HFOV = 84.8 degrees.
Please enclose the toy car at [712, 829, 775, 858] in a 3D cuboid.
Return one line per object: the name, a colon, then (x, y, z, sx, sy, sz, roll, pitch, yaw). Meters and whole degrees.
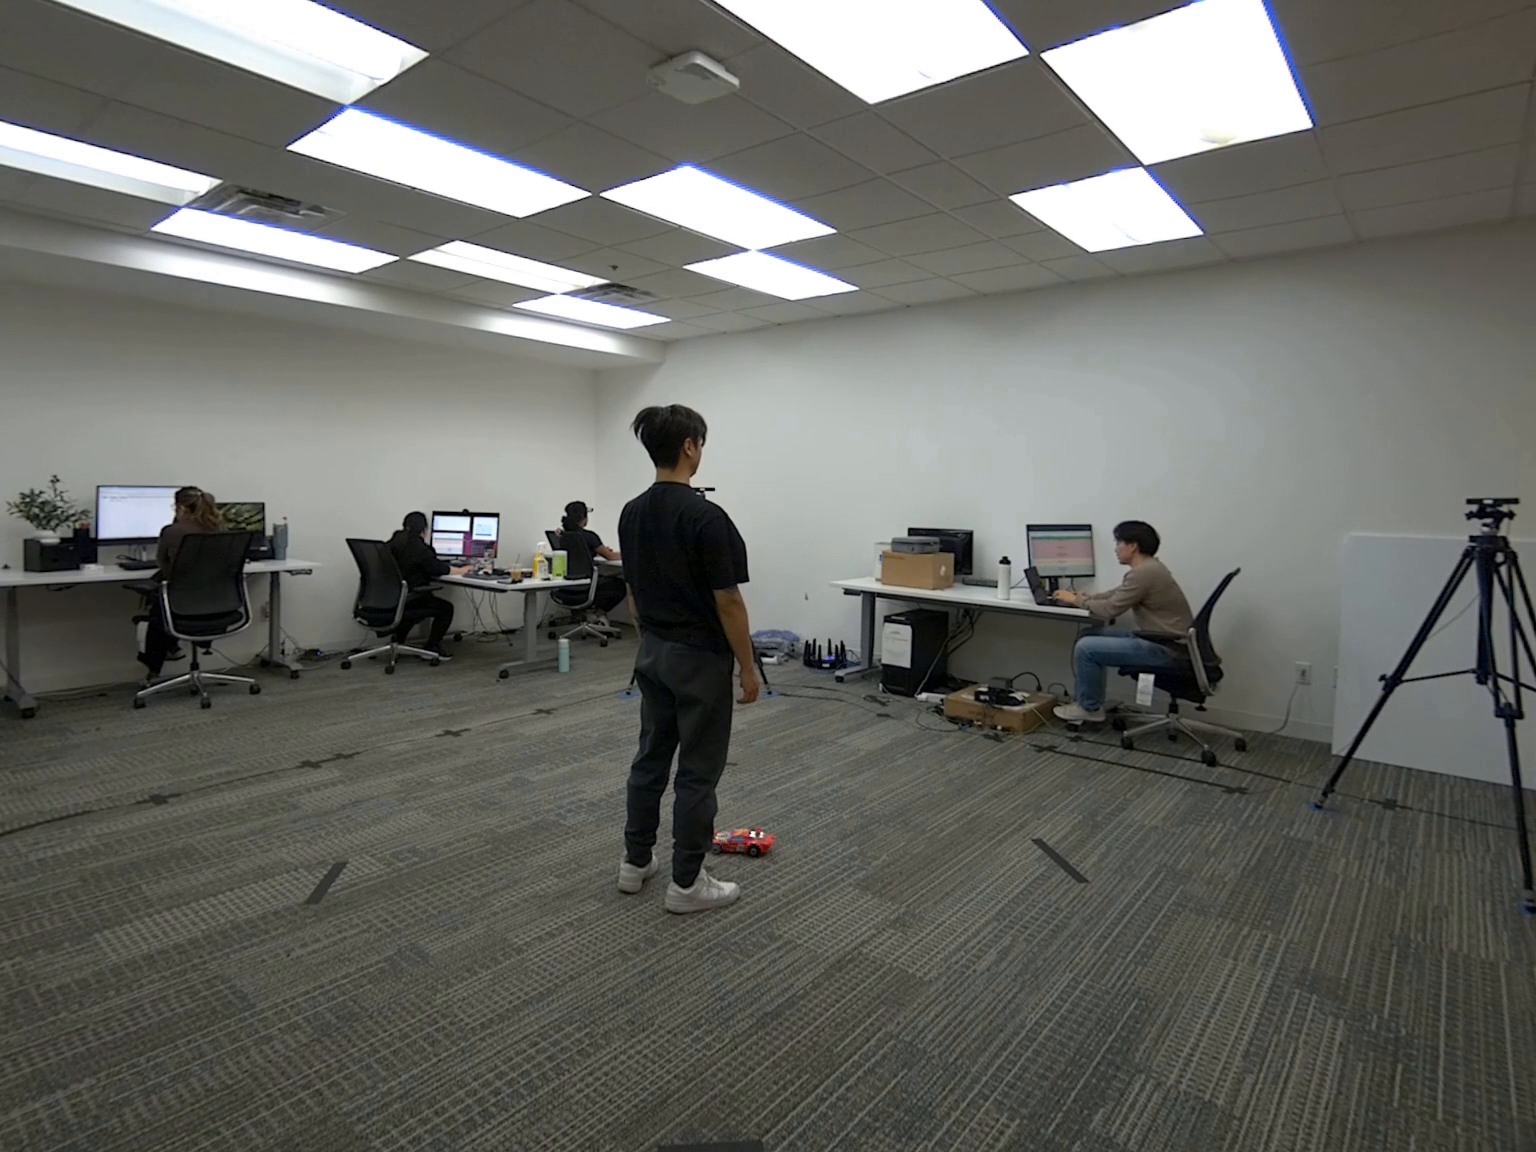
toy car: (-0.109, 1.019, 3.269, 0.257, 0.083, 0.129, -9, 4, 9)
